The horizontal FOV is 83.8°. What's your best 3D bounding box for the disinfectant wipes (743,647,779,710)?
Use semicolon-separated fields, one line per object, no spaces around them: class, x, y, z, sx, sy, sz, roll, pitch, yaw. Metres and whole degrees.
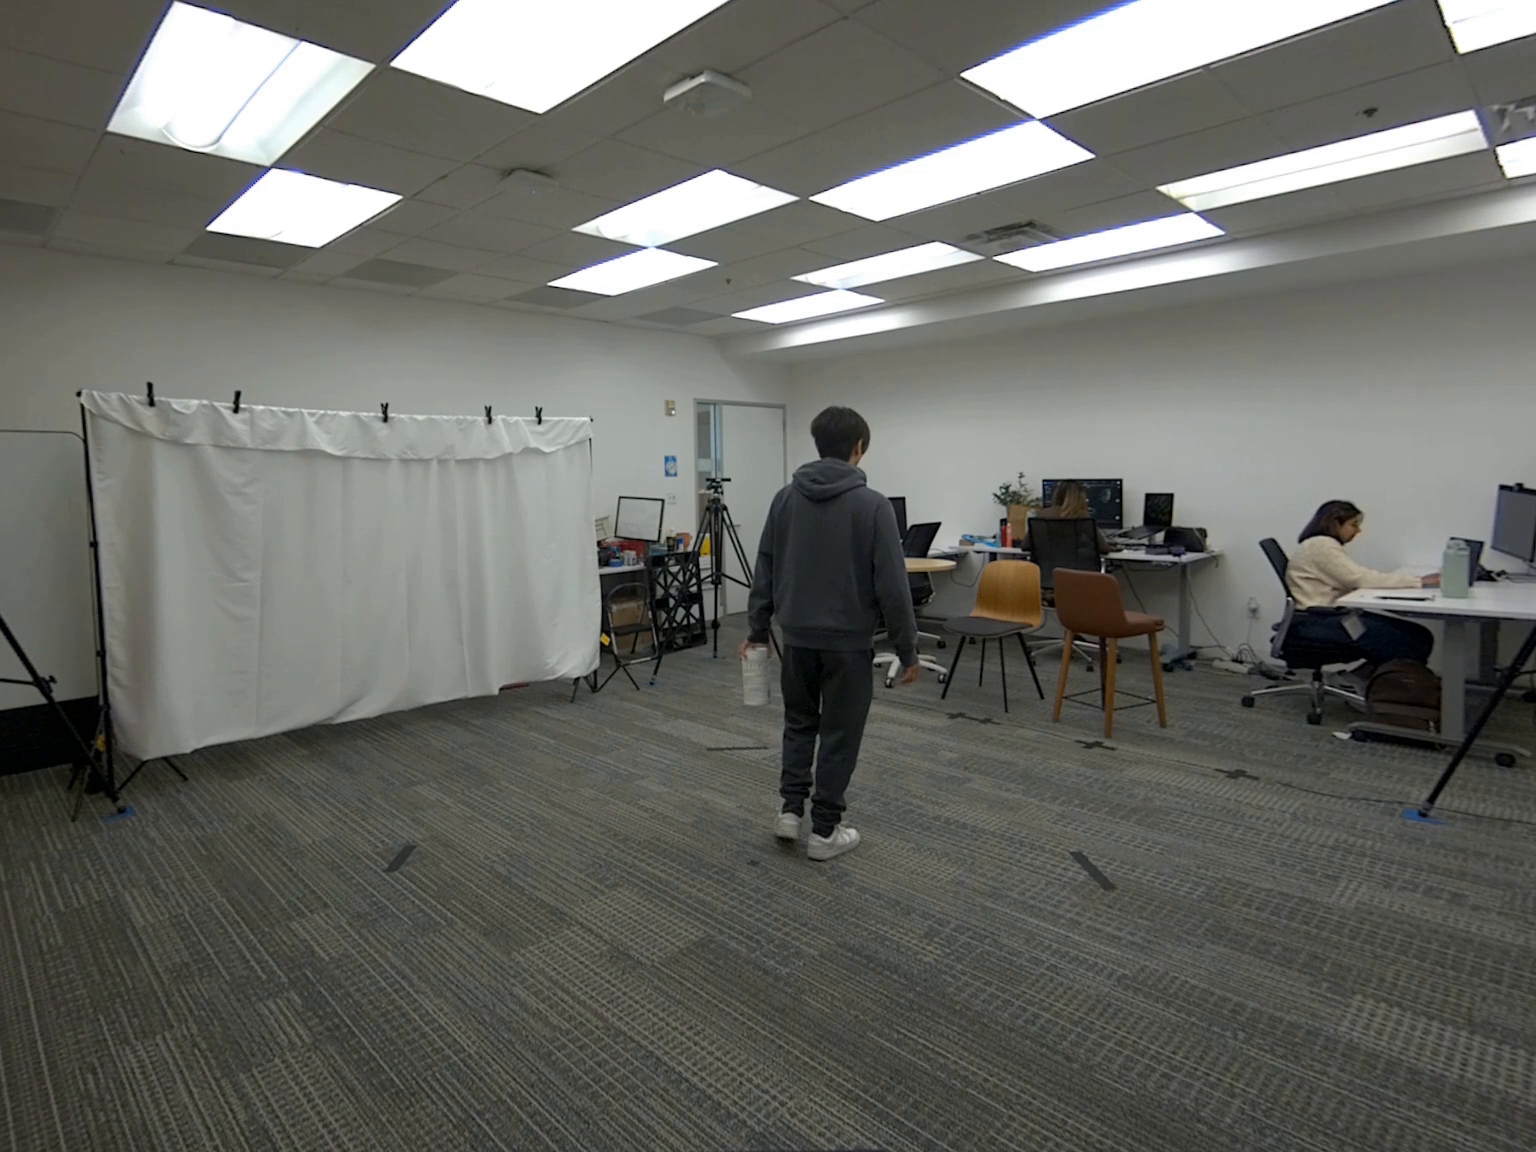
disinfectant wipes;-0.031;0.398;3.360;0.118;0.218;0.118;-4;-2;-2
